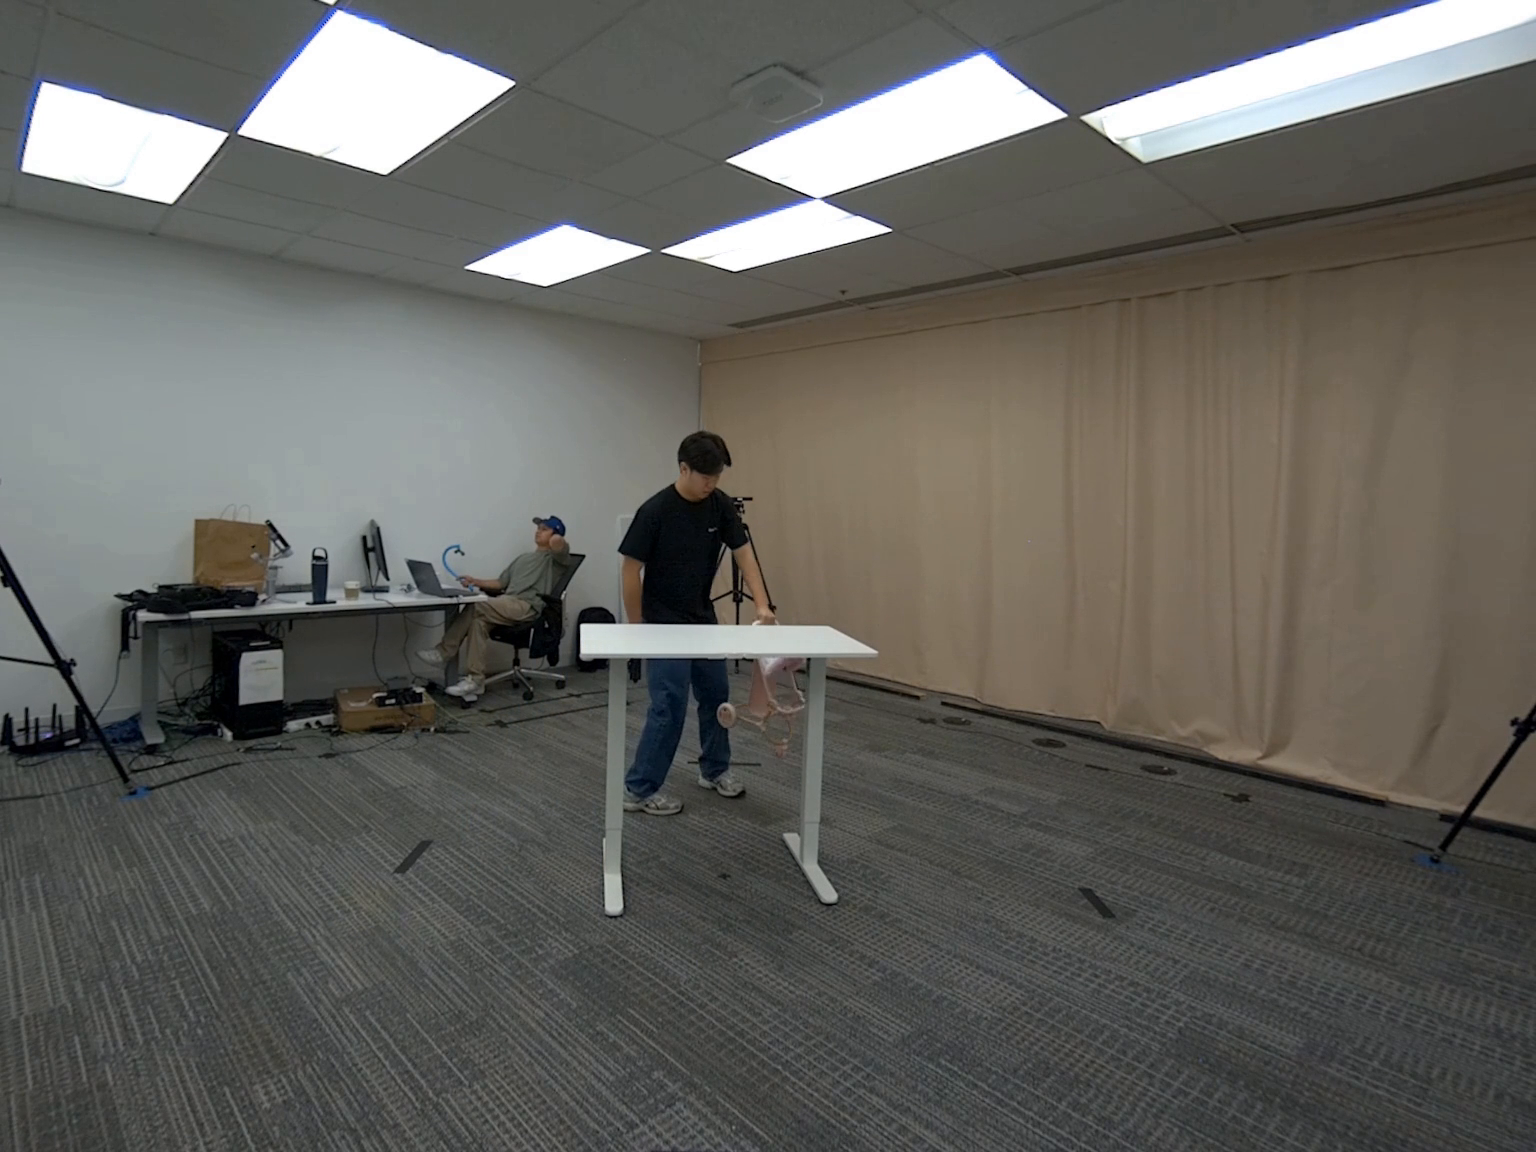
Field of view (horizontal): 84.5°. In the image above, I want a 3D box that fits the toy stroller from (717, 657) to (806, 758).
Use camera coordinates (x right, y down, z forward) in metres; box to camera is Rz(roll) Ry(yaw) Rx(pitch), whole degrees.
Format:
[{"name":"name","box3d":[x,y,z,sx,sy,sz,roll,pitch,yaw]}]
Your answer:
[{"name":"toy stroller","box3d":[0.003,0.500,3.677,0.352,0.531,0.275,30,21,37]}]
